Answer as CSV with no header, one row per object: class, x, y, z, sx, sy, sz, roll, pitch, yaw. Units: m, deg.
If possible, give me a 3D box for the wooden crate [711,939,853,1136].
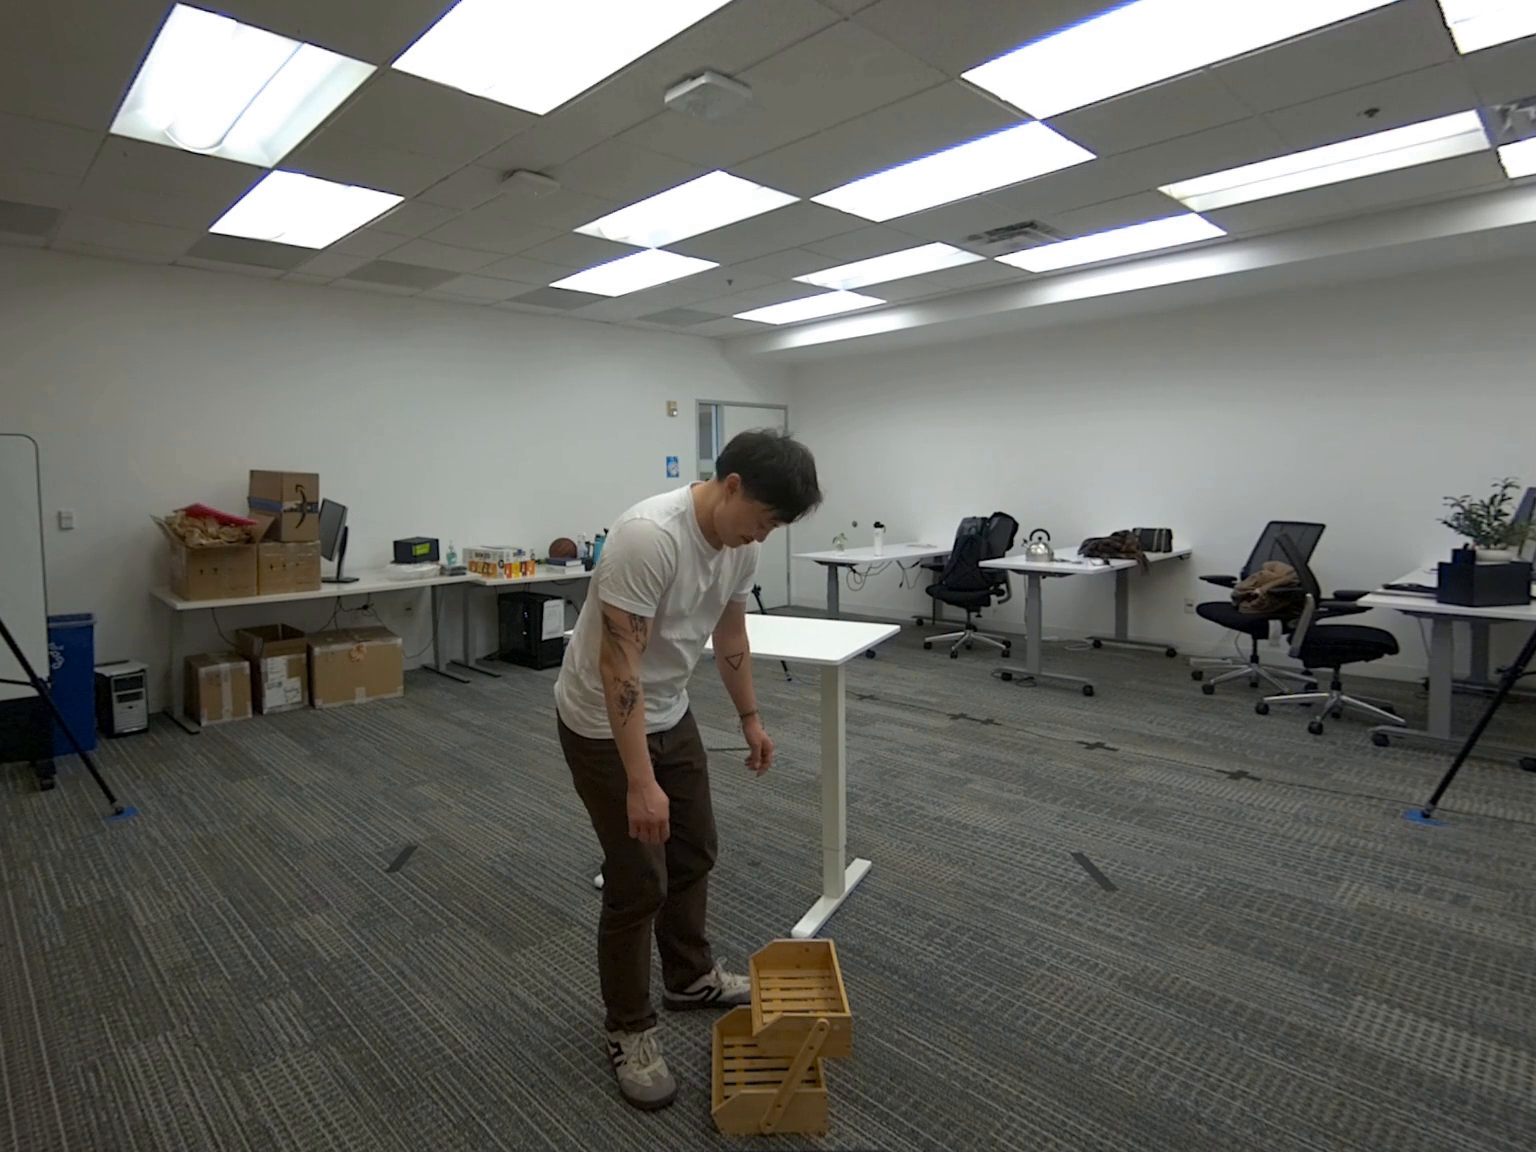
wooden crate,0.023,1.047,1.963,0.302,0.272,0.326,-1,5,-2
